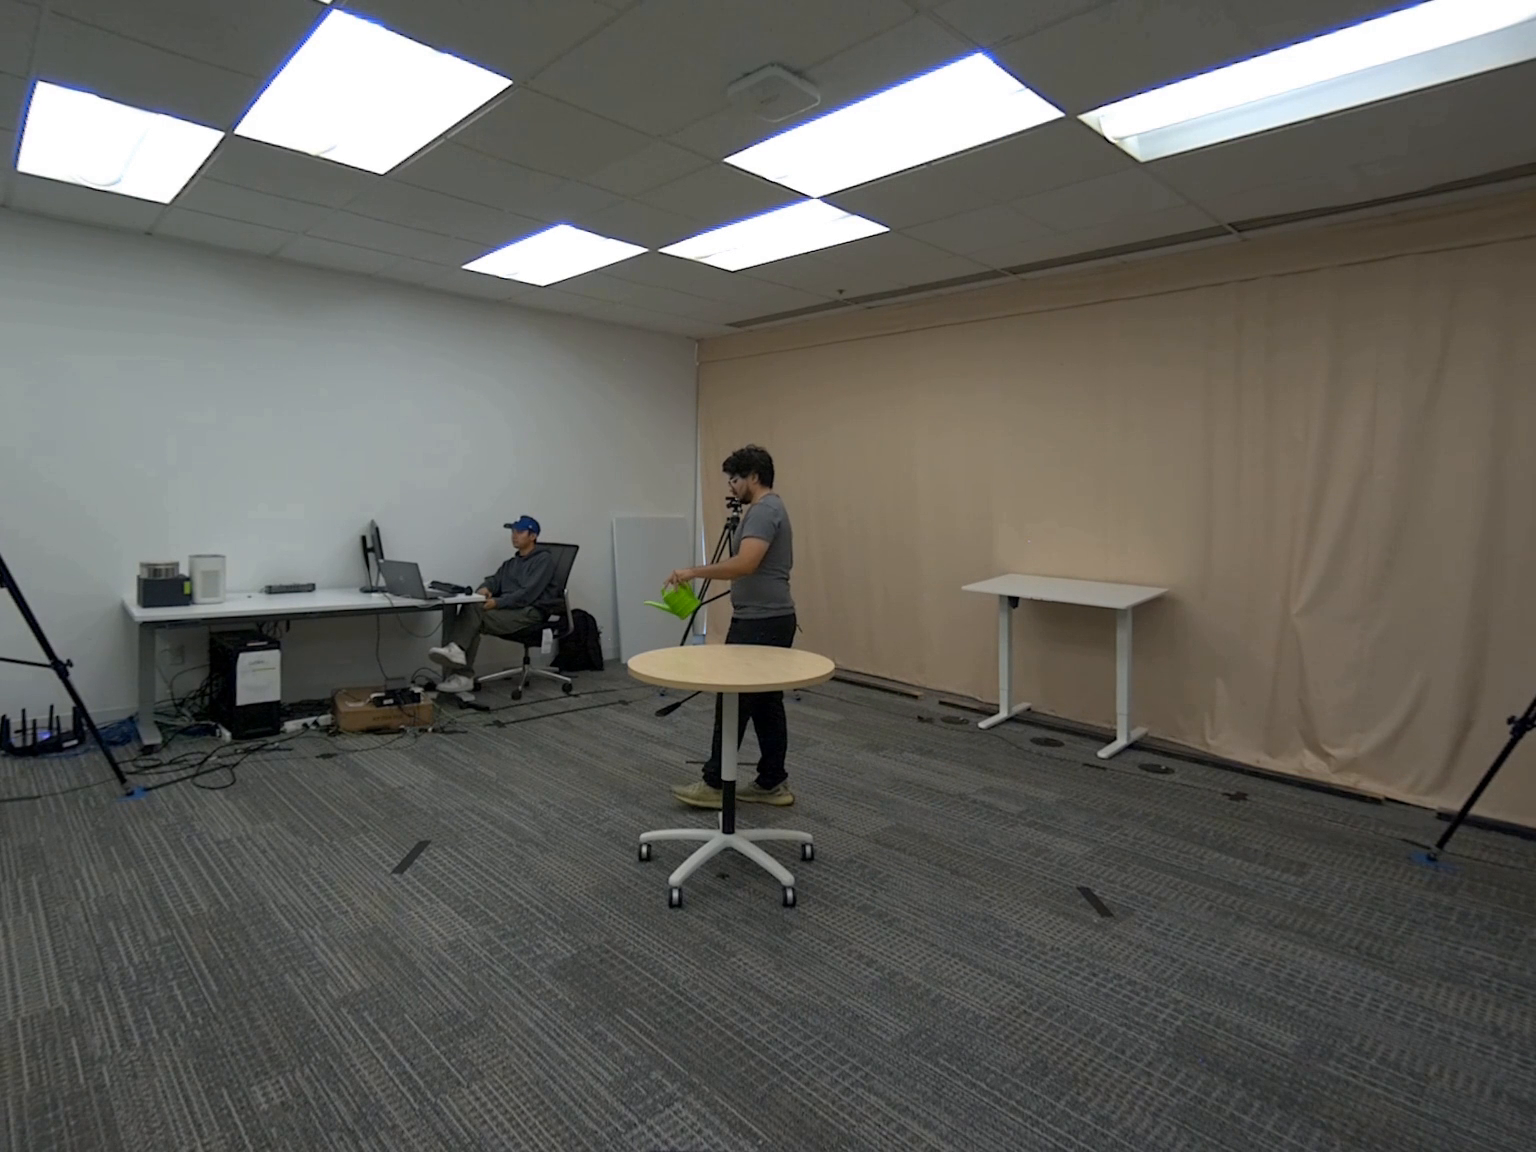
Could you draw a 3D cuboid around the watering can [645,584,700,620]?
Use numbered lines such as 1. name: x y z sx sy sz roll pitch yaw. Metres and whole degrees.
1. watering can: -0.435 0.116 3.796 0.098 0.176 0.279 -44 4 -42
